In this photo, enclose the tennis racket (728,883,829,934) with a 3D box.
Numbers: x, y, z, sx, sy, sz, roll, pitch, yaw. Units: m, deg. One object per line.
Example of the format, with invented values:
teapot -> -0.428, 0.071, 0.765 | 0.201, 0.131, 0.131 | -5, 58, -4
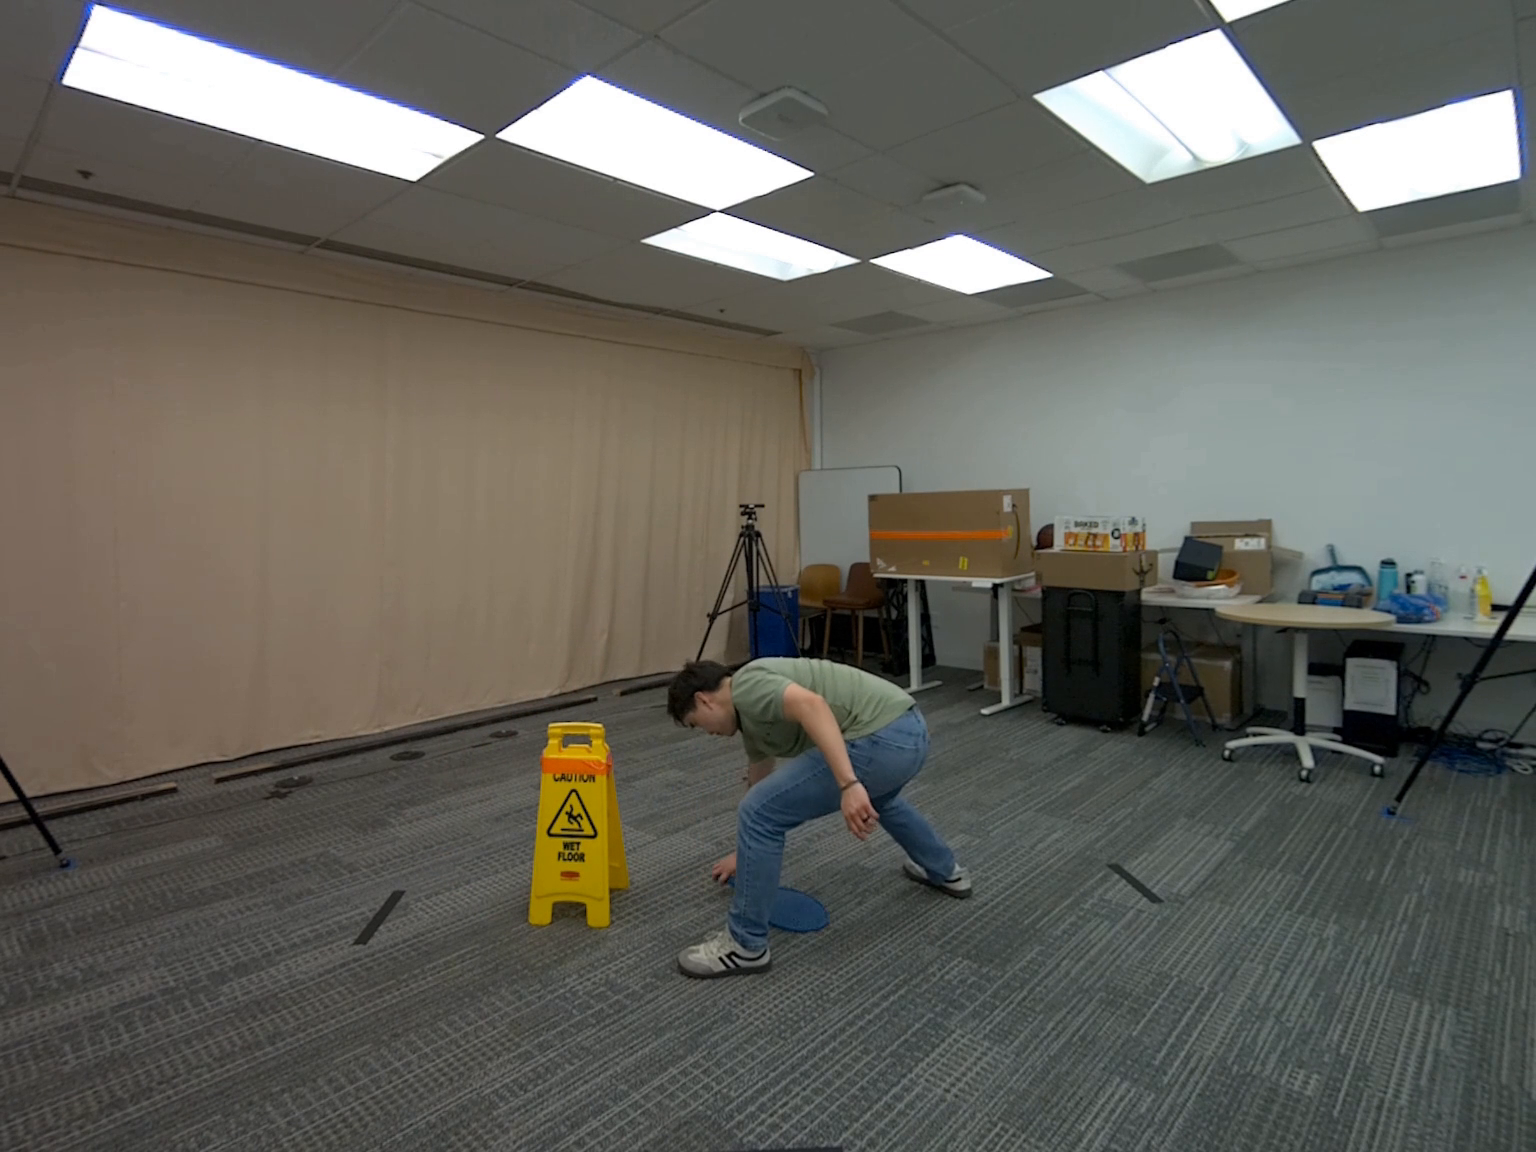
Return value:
tennis racket -> 0.004, 1.109, 2.869 | 0.444, 0.031, 0.209 | 8, 13, 24
